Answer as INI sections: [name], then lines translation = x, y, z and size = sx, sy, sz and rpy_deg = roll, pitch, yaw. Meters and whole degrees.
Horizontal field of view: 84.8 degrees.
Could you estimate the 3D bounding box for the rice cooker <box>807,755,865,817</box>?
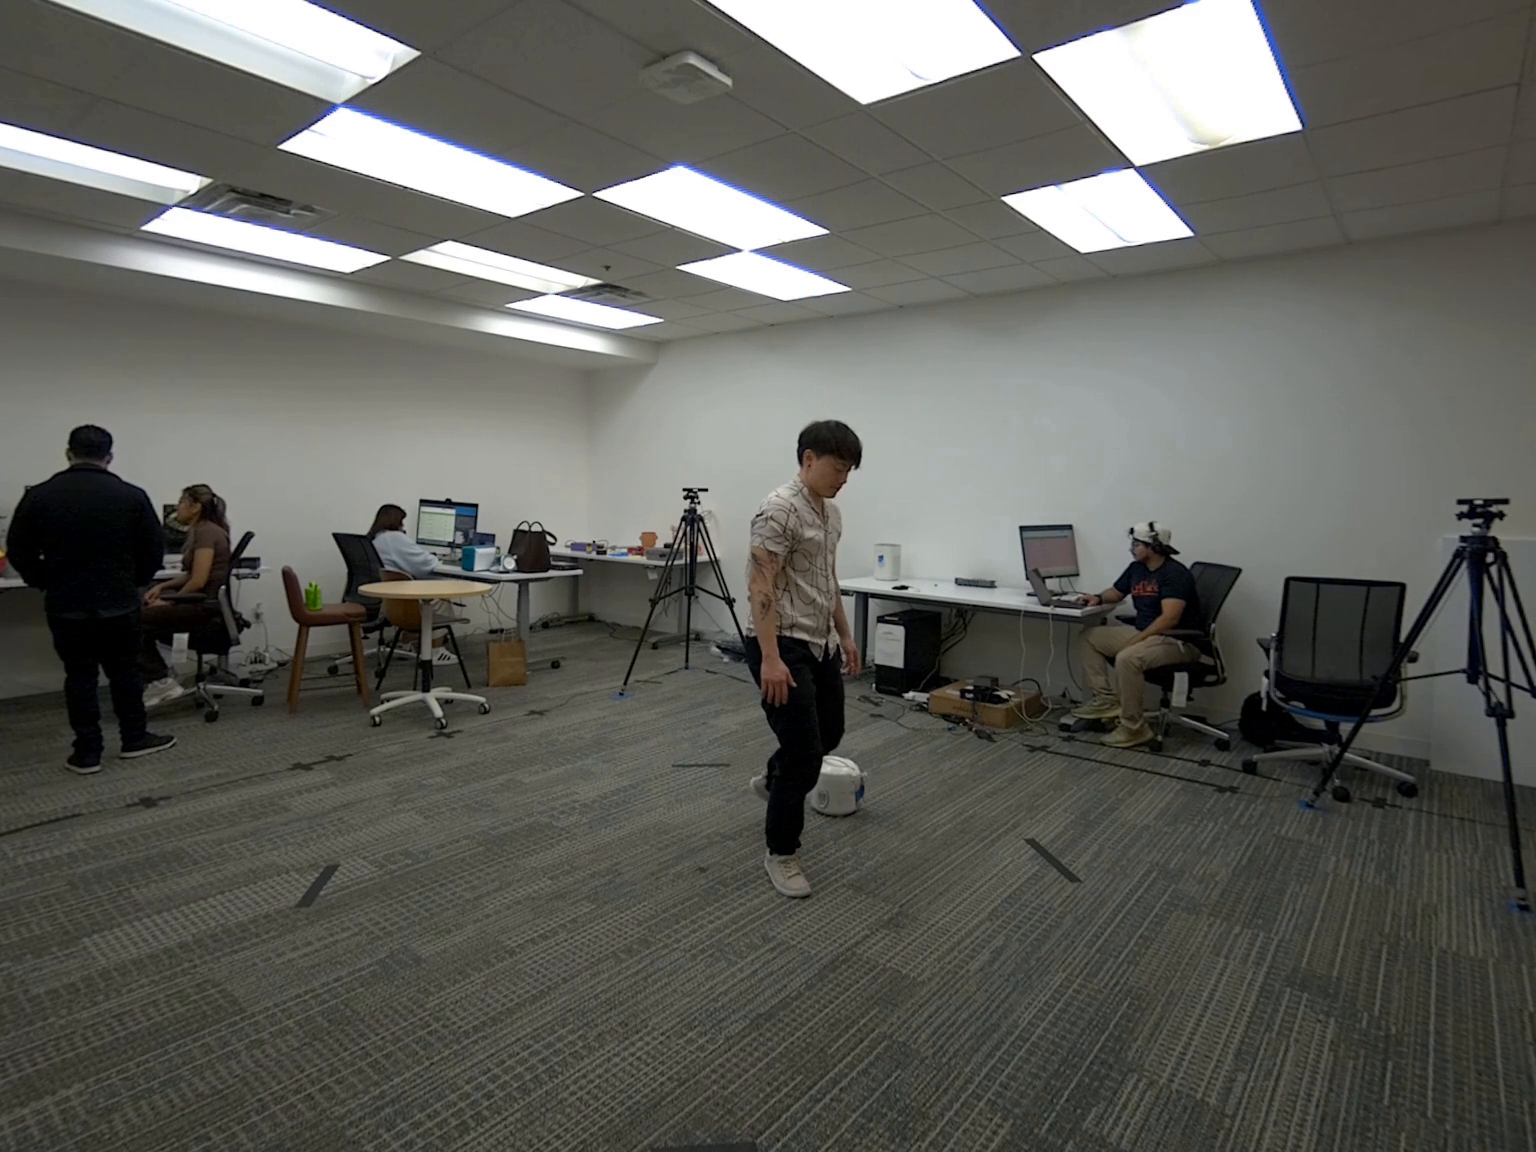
[rice cooker]
translation = 0.287, 0.903, 3.723
size = 0.228, 0.232, 0.211
rpy_deg = 4, 4, 37
